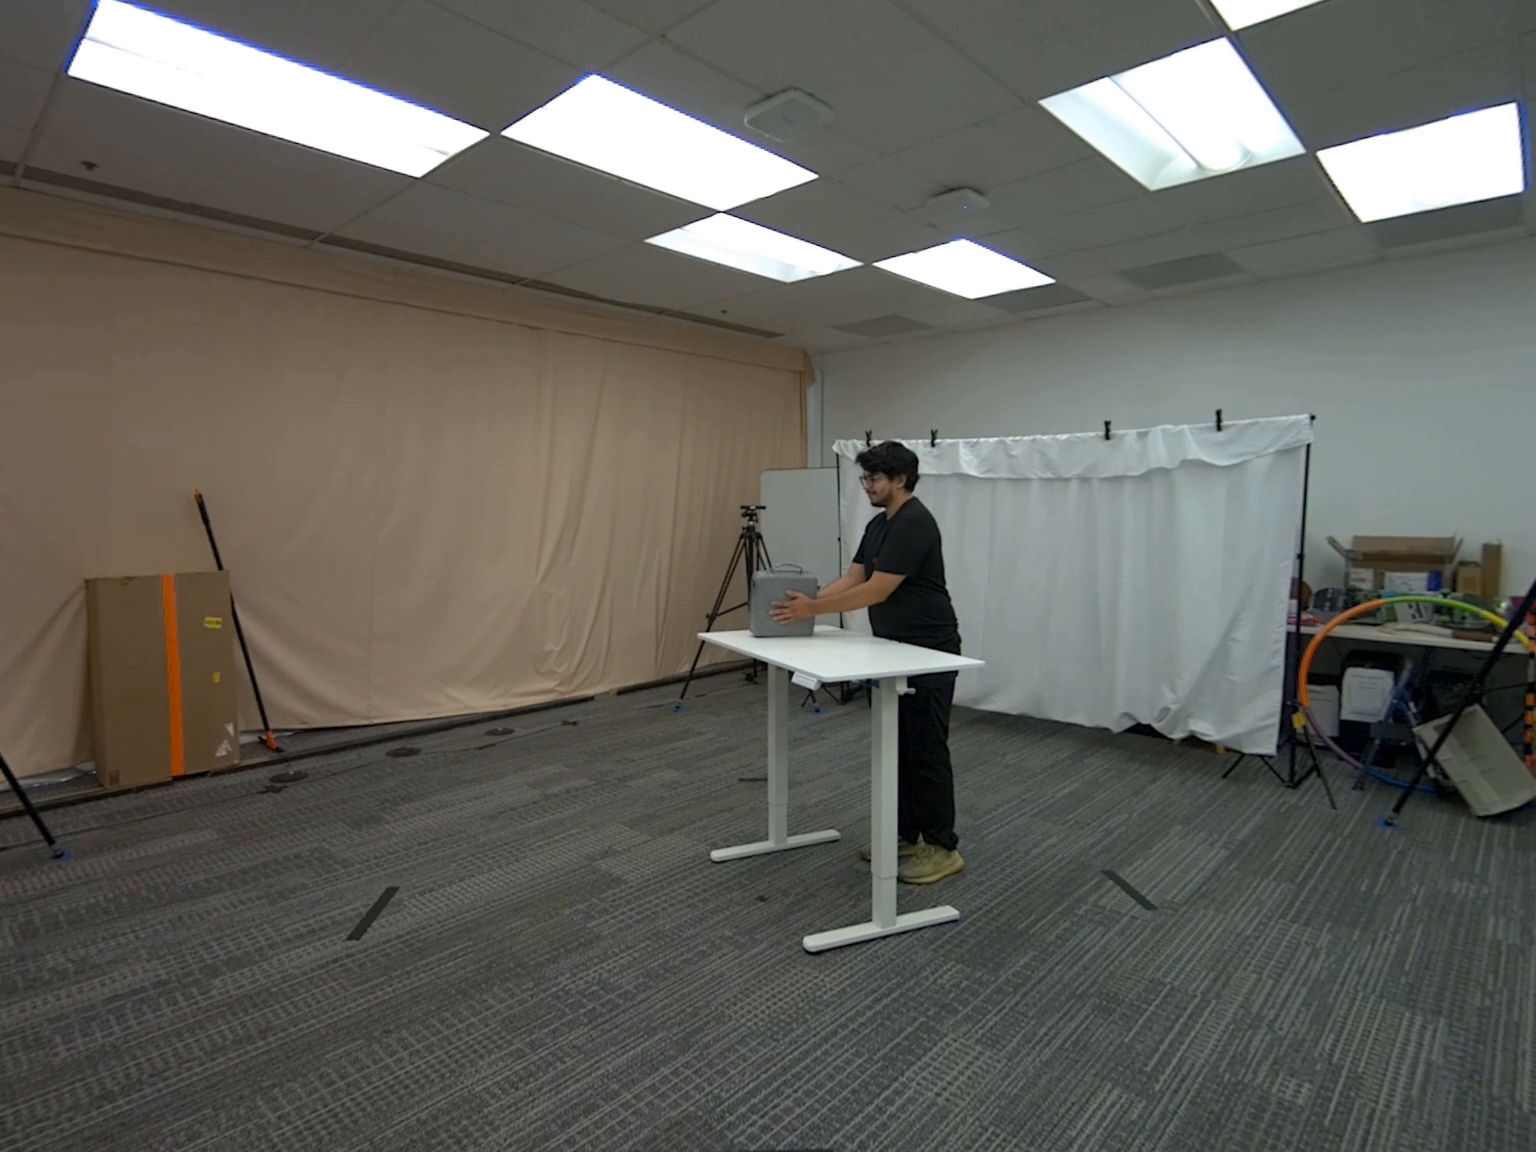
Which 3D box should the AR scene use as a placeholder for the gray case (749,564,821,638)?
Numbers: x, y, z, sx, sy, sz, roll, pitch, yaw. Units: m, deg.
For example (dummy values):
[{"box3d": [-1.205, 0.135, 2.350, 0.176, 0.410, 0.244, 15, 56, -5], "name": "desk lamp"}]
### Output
[{"box3d": [0.069, 0.108, 3.290, 0.256, 0.259, 0.105, 1, 9, -4], "name": "gray case"}]
